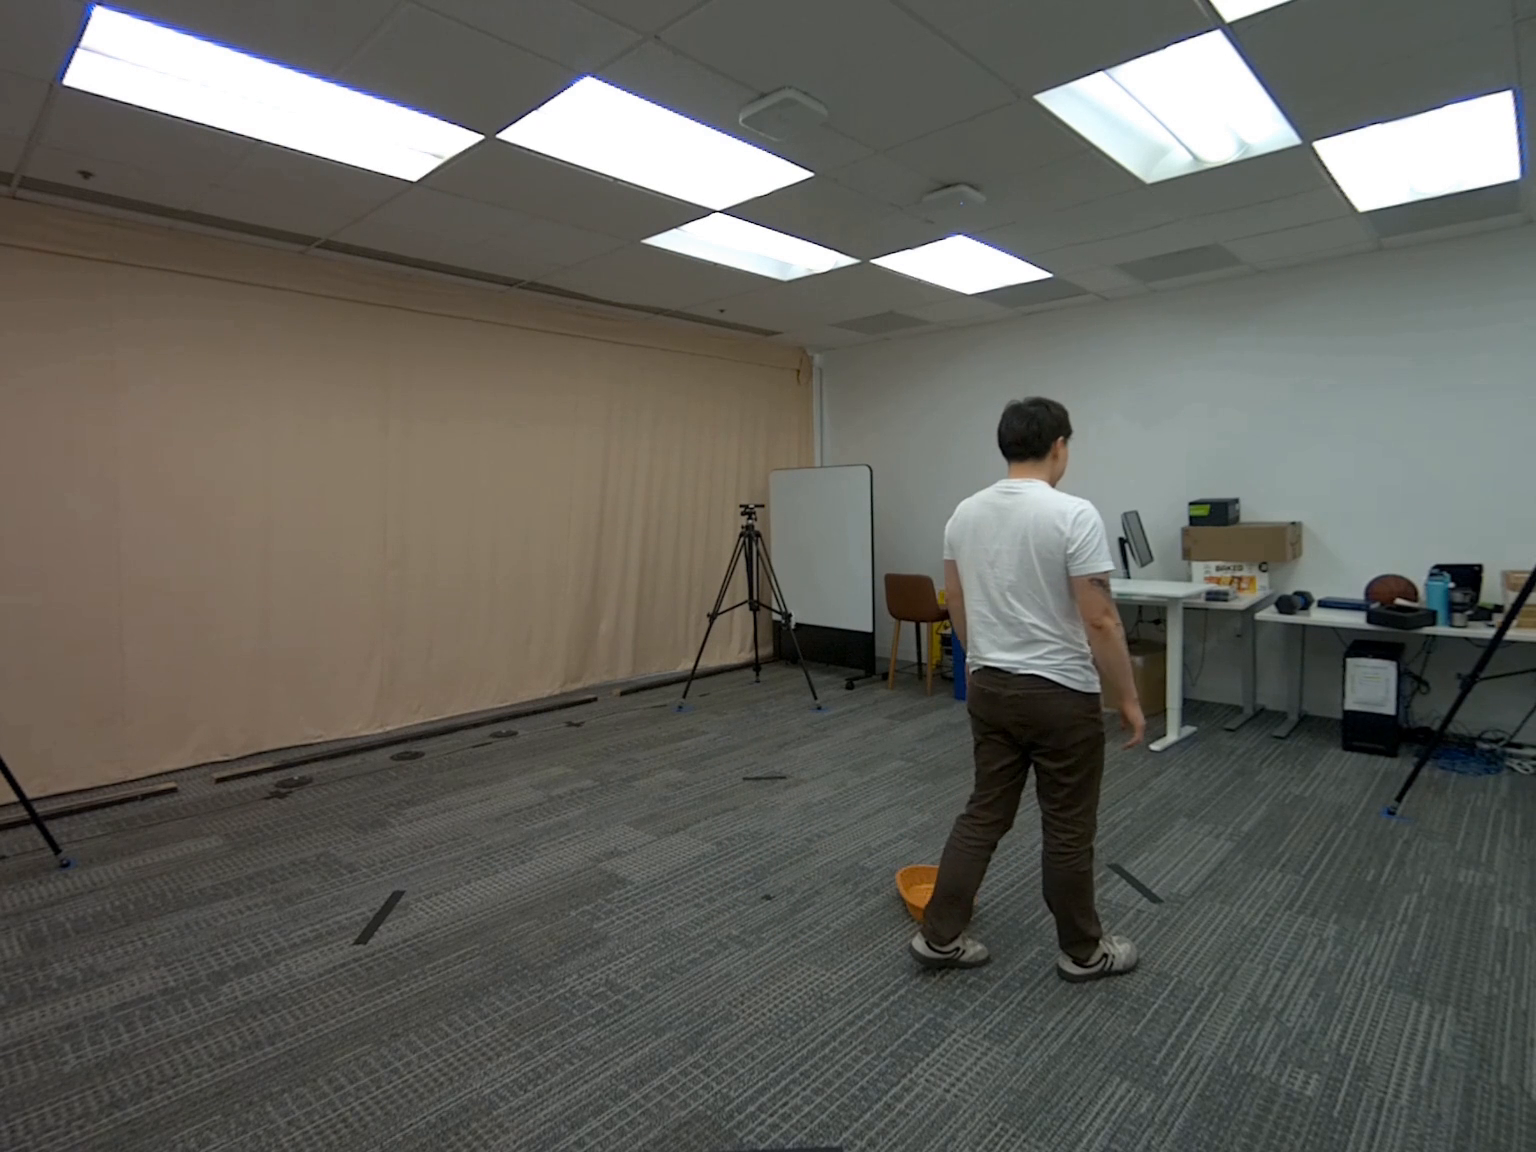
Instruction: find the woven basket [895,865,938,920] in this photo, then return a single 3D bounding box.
[{"bbox_3d":[0.570,1.096,2.887,0.253,0.073,0.350,1,5,2],"label":"woven basket"}]
